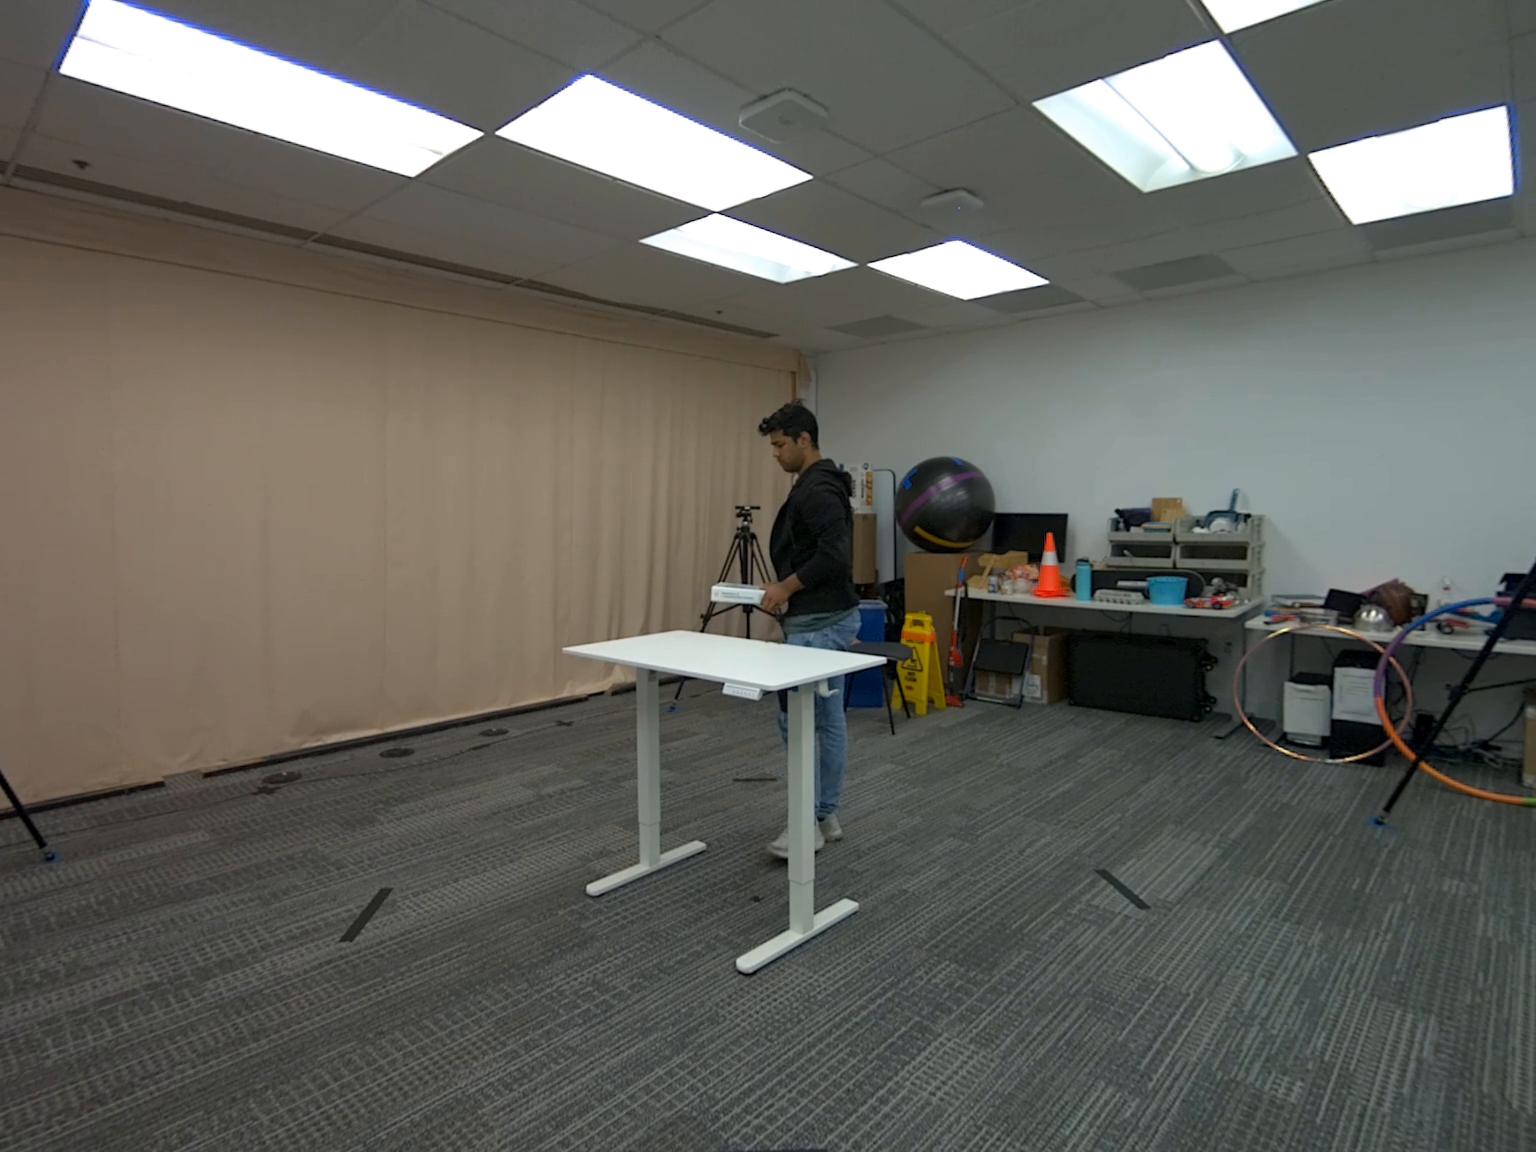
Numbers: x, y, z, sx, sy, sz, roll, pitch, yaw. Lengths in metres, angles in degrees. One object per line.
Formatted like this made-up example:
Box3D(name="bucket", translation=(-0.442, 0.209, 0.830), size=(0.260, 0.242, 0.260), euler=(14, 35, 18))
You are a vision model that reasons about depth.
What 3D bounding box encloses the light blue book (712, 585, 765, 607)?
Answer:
Box3D(name="light blue book", translation=(-0.089, 0.082, 3.534), size=(0.263, 0.059, 0.190), euler=(3, 3, 6))
